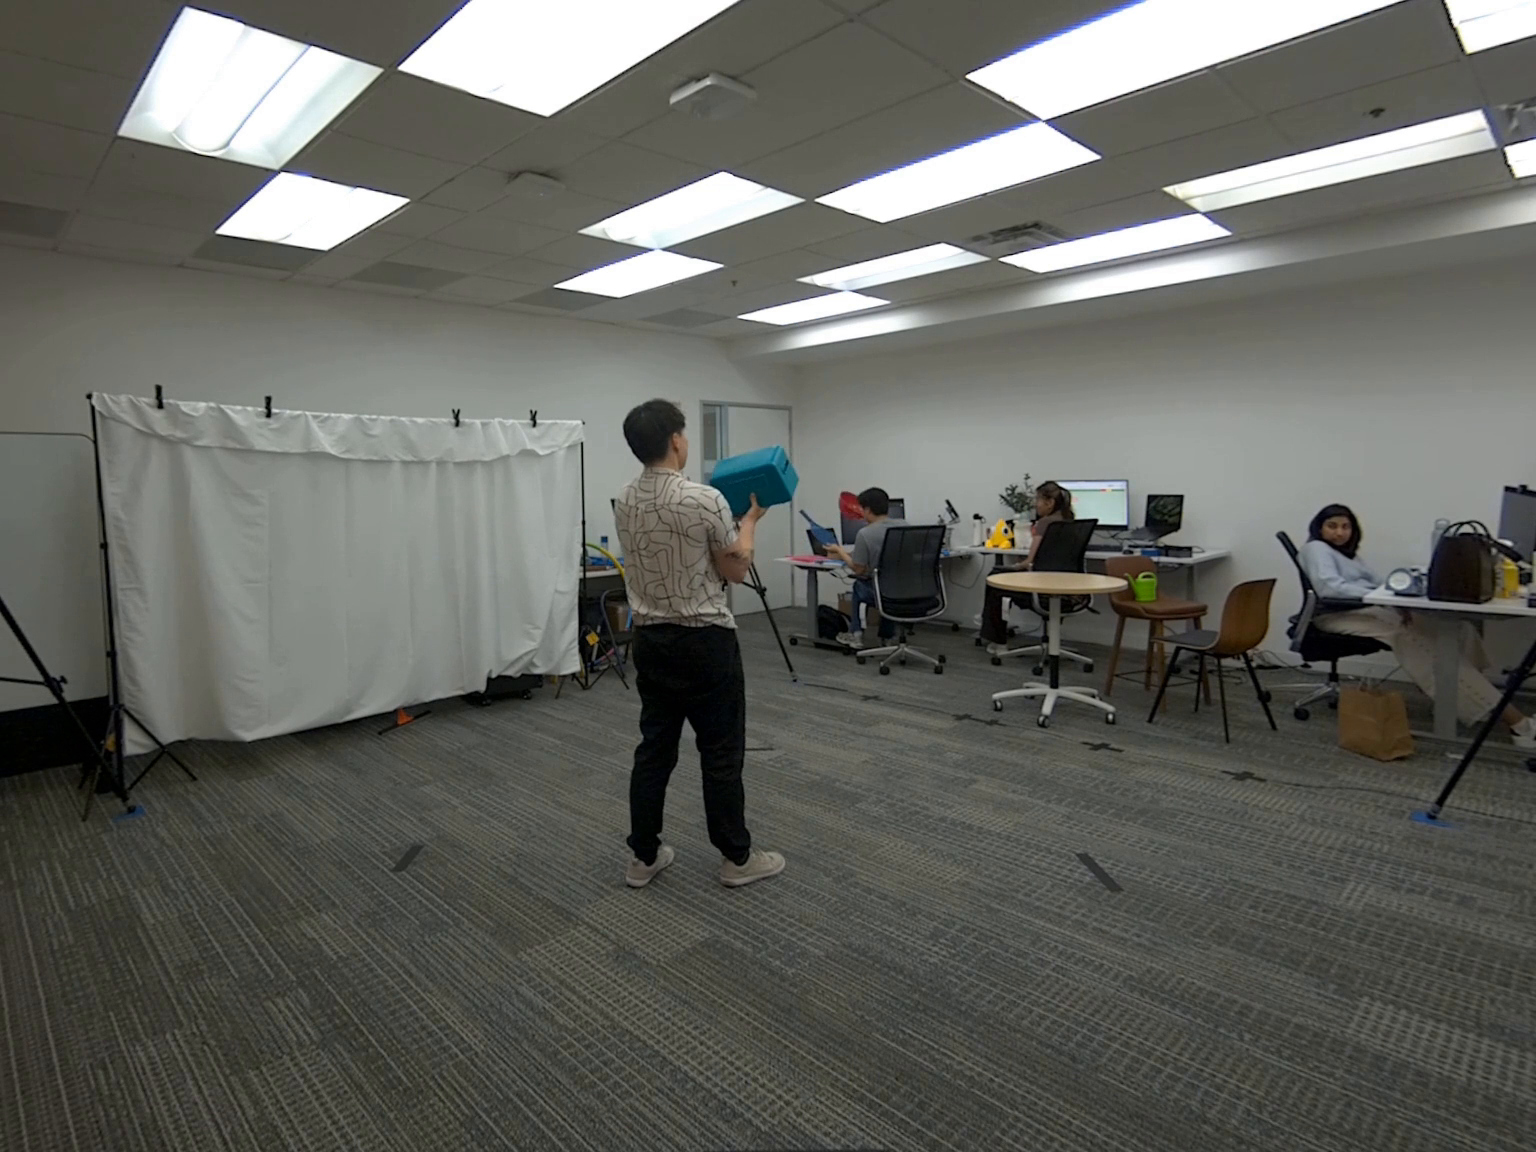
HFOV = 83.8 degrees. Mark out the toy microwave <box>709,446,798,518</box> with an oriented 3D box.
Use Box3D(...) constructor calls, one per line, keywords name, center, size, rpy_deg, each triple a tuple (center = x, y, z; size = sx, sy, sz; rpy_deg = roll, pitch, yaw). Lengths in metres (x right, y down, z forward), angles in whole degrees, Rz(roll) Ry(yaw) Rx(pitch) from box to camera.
Box3D(name="toy microwave", center=(-0.048, -0.354, 3.129), size=(0.292, 0.178, 0.154), rpy_deg=(-11, 35, 29))
